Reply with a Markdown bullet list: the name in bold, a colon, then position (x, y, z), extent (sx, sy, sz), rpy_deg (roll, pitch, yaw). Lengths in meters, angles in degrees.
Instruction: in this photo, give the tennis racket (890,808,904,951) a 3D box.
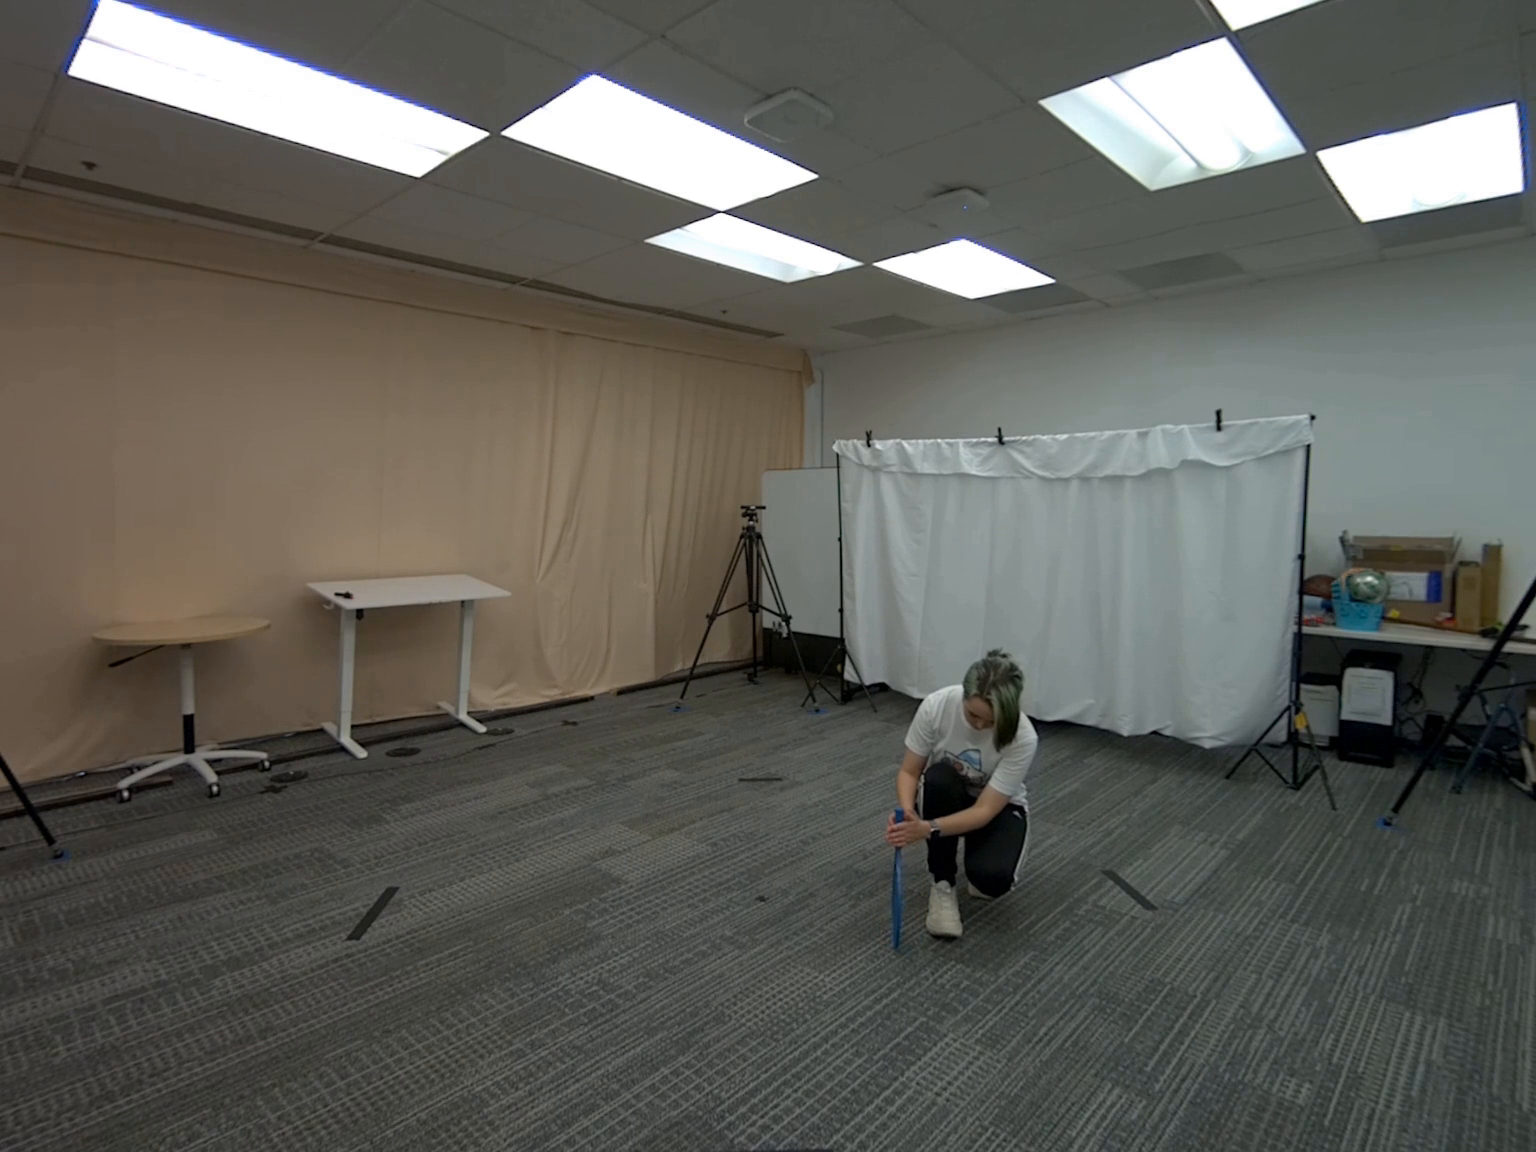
- **tennis racket**: position (0.421, 0.966, 2.655), extent (0.032, 0.433, 0.212), rpy_deg (-3, 1, 6)
